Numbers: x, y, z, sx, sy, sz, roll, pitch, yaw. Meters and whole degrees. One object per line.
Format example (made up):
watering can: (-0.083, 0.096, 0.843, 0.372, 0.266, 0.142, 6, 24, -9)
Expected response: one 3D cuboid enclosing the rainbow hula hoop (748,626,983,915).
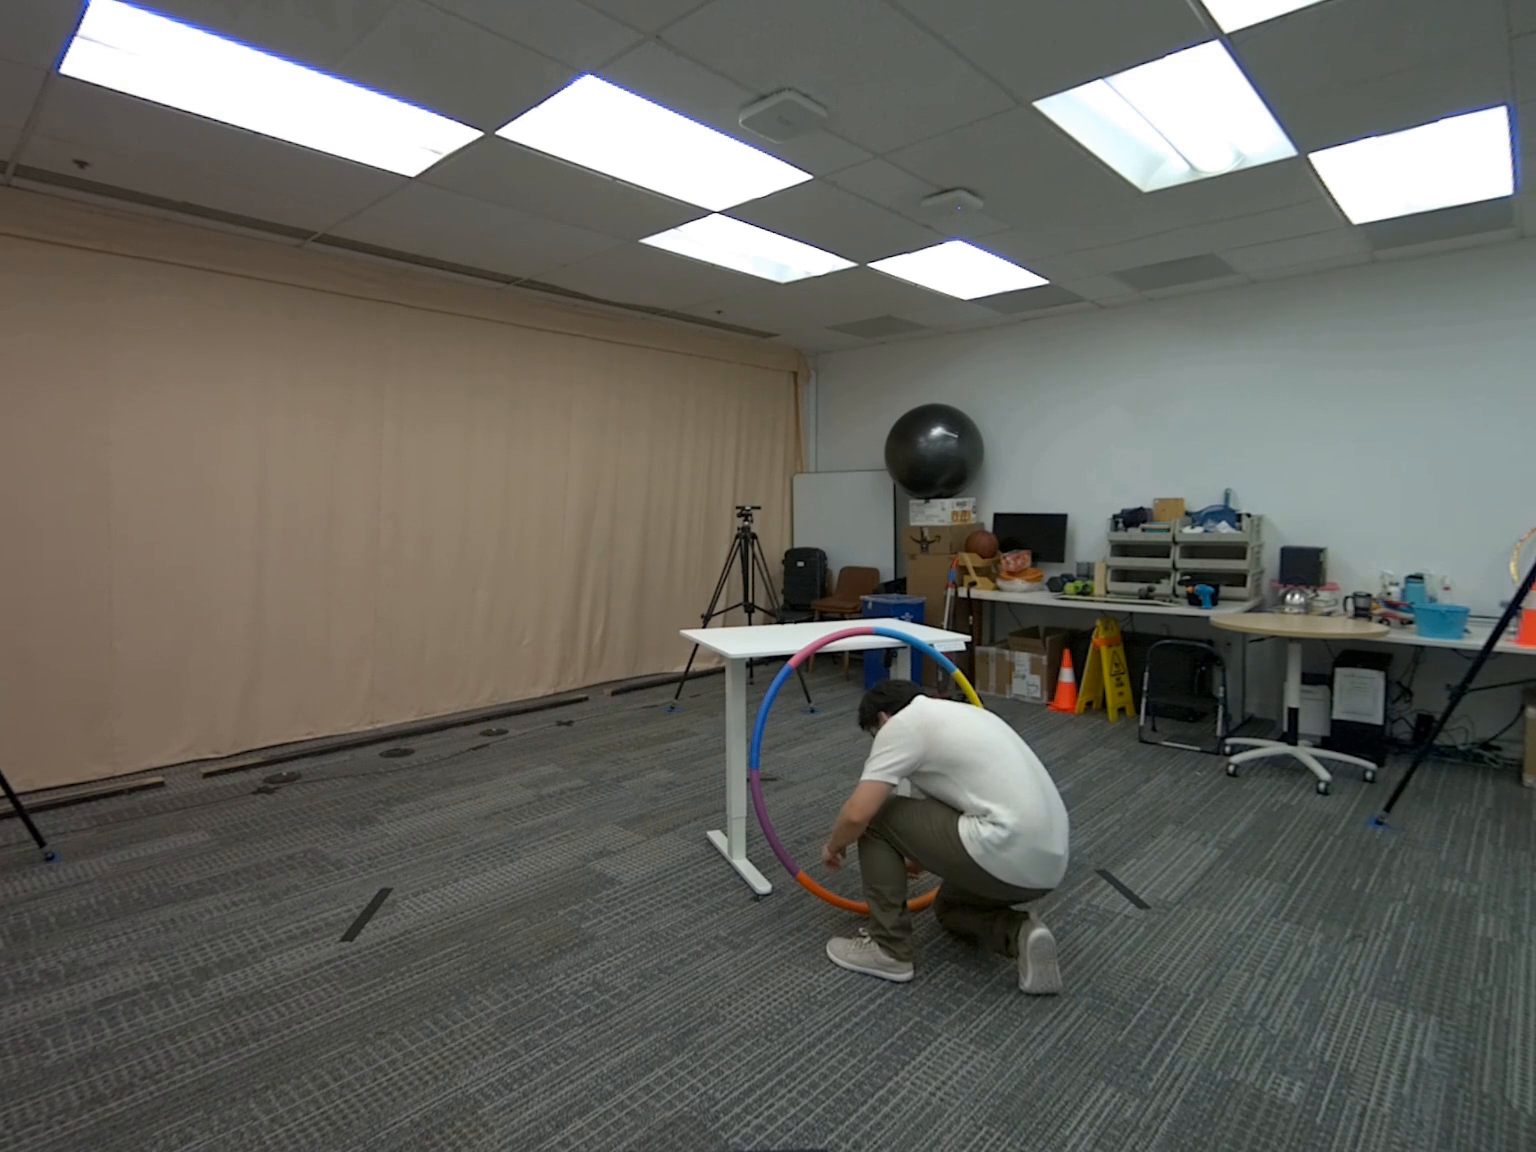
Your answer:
rainbow hula hoop: (0.401, 0.667, 2.975, 0.959, 0.987, 0.036, -2, -13, -20)
